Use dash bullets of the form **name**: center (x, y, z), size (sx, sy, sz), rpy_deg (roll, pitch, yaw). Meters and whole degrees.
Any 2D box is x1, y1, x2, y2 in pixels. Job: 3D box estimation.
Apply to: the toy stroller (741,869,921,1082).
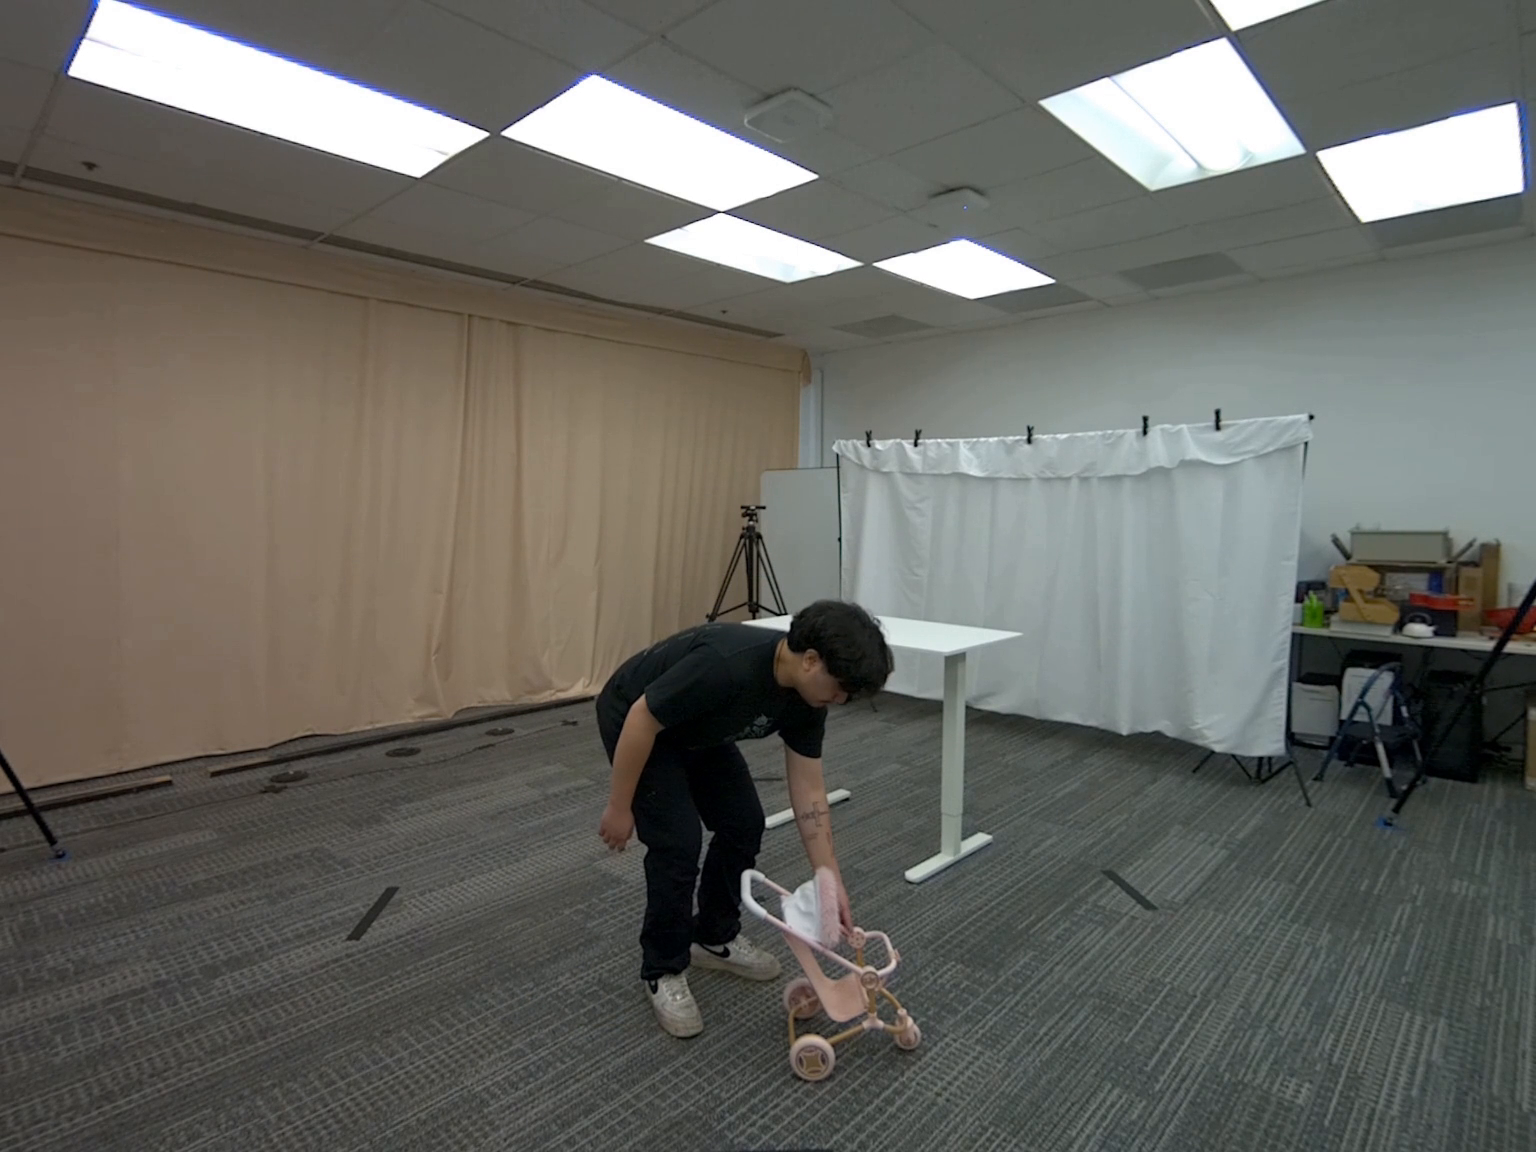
- **toy stroller**: center (0.162, 1.000, 2.133), size (0.345, 0.533, 0.279), rpy_deg (-14, 4, 10)
